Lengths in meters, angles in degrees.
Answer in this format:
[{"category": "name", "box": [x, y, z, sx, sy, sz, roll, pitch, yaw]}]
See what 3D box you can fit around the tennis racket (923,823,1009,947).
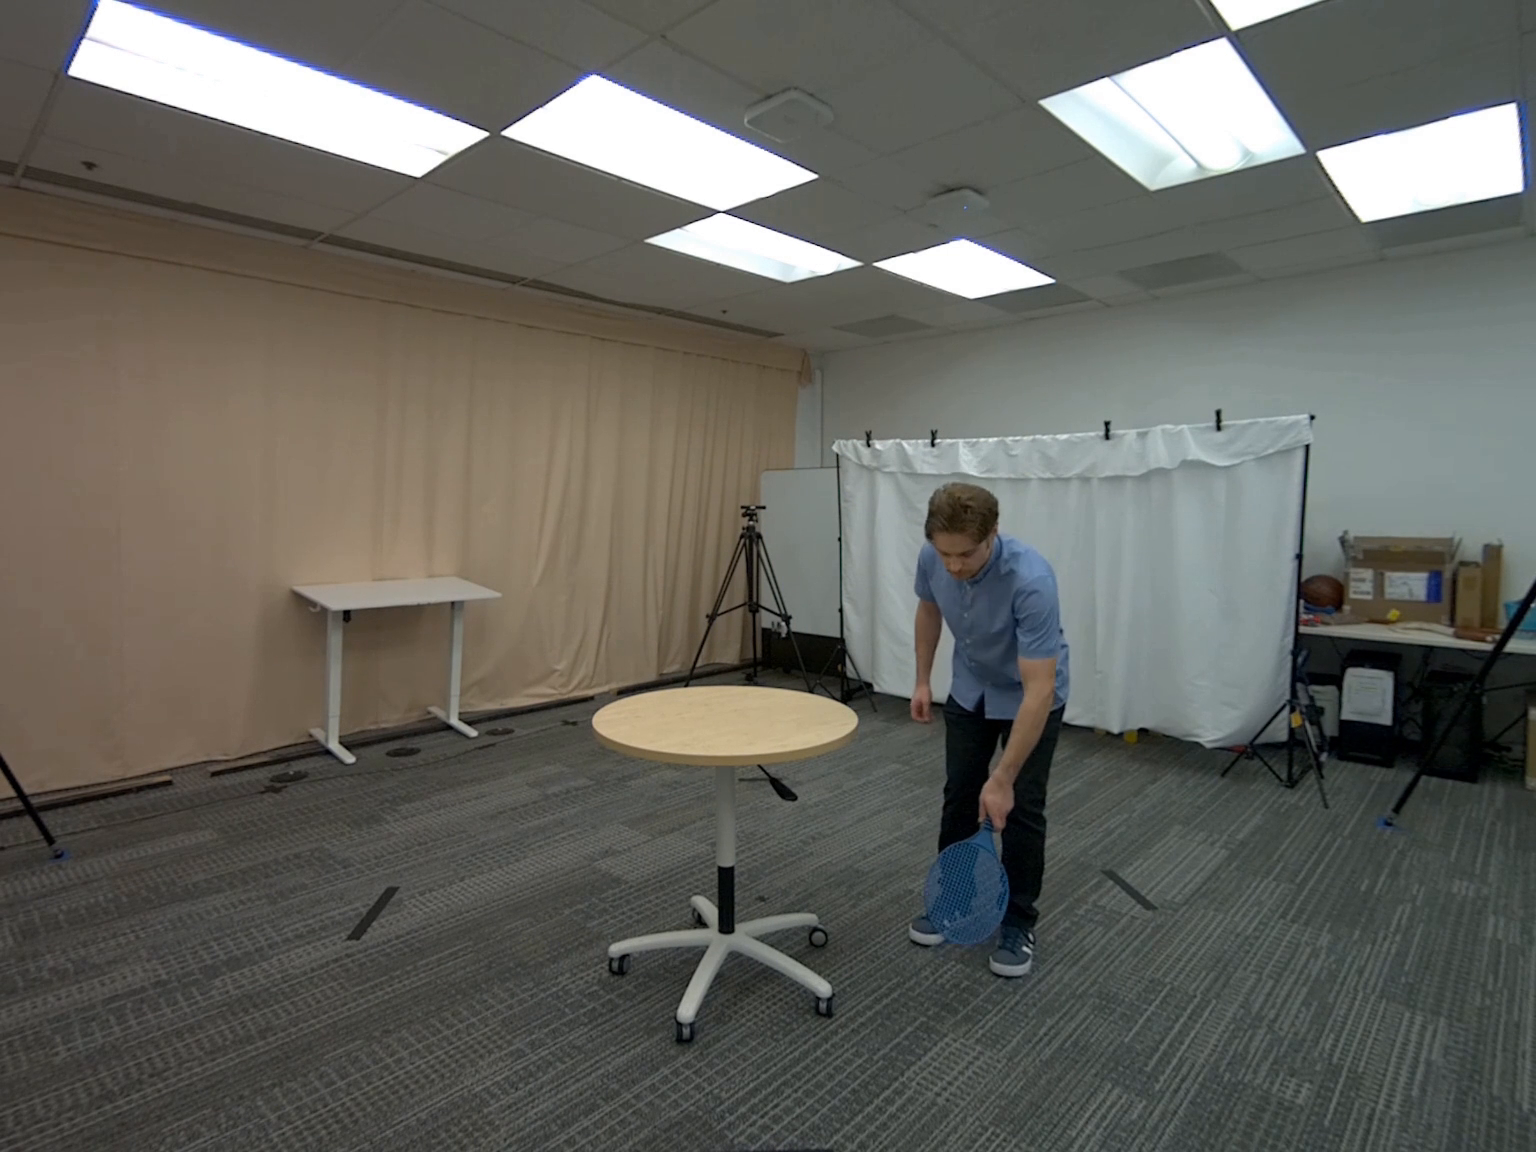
[{"category": "tennis racket", "box": [0.589, 0.786, 2.298, 0.216, 0.433, 0.031, 24, -21, 8]}]
